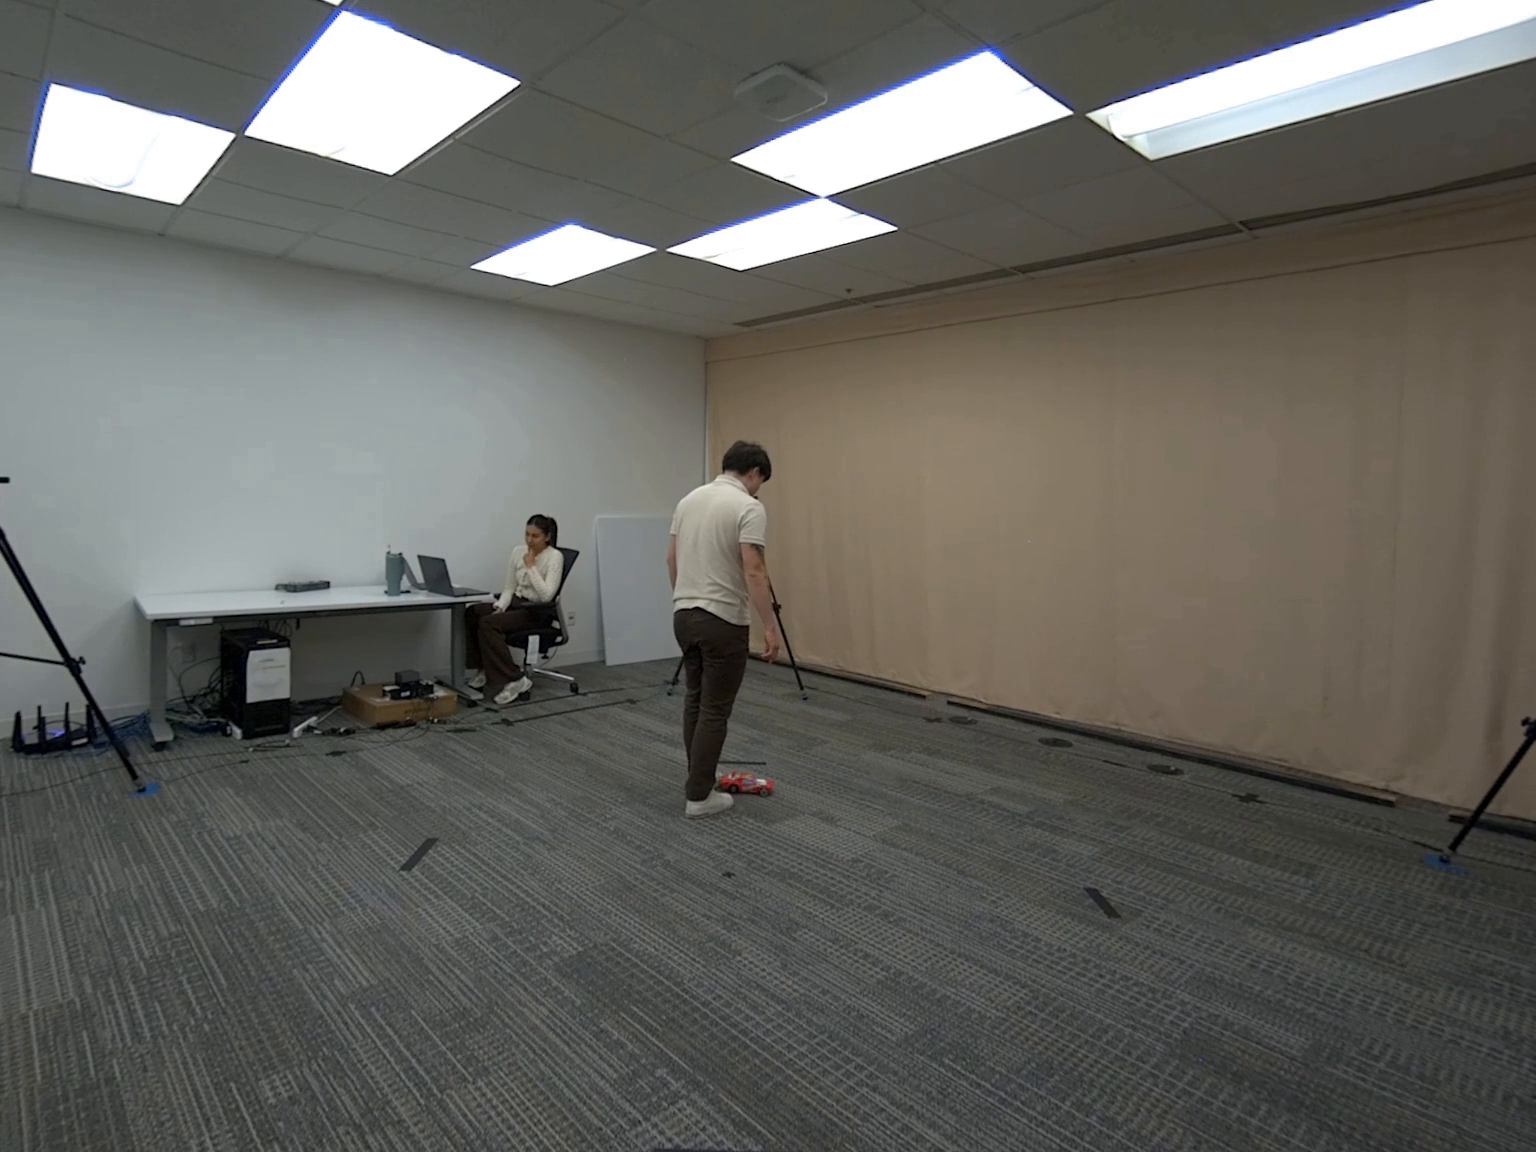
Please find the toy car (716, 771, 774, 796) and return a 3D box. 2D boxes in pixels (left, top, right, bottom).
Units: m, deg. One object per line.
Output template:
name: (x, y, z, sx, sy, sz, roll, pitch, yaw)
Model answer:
toy car: (-0.128, 0.996, 4.026, 0.257, 0.083, 0.130, 14, 7, 8)
